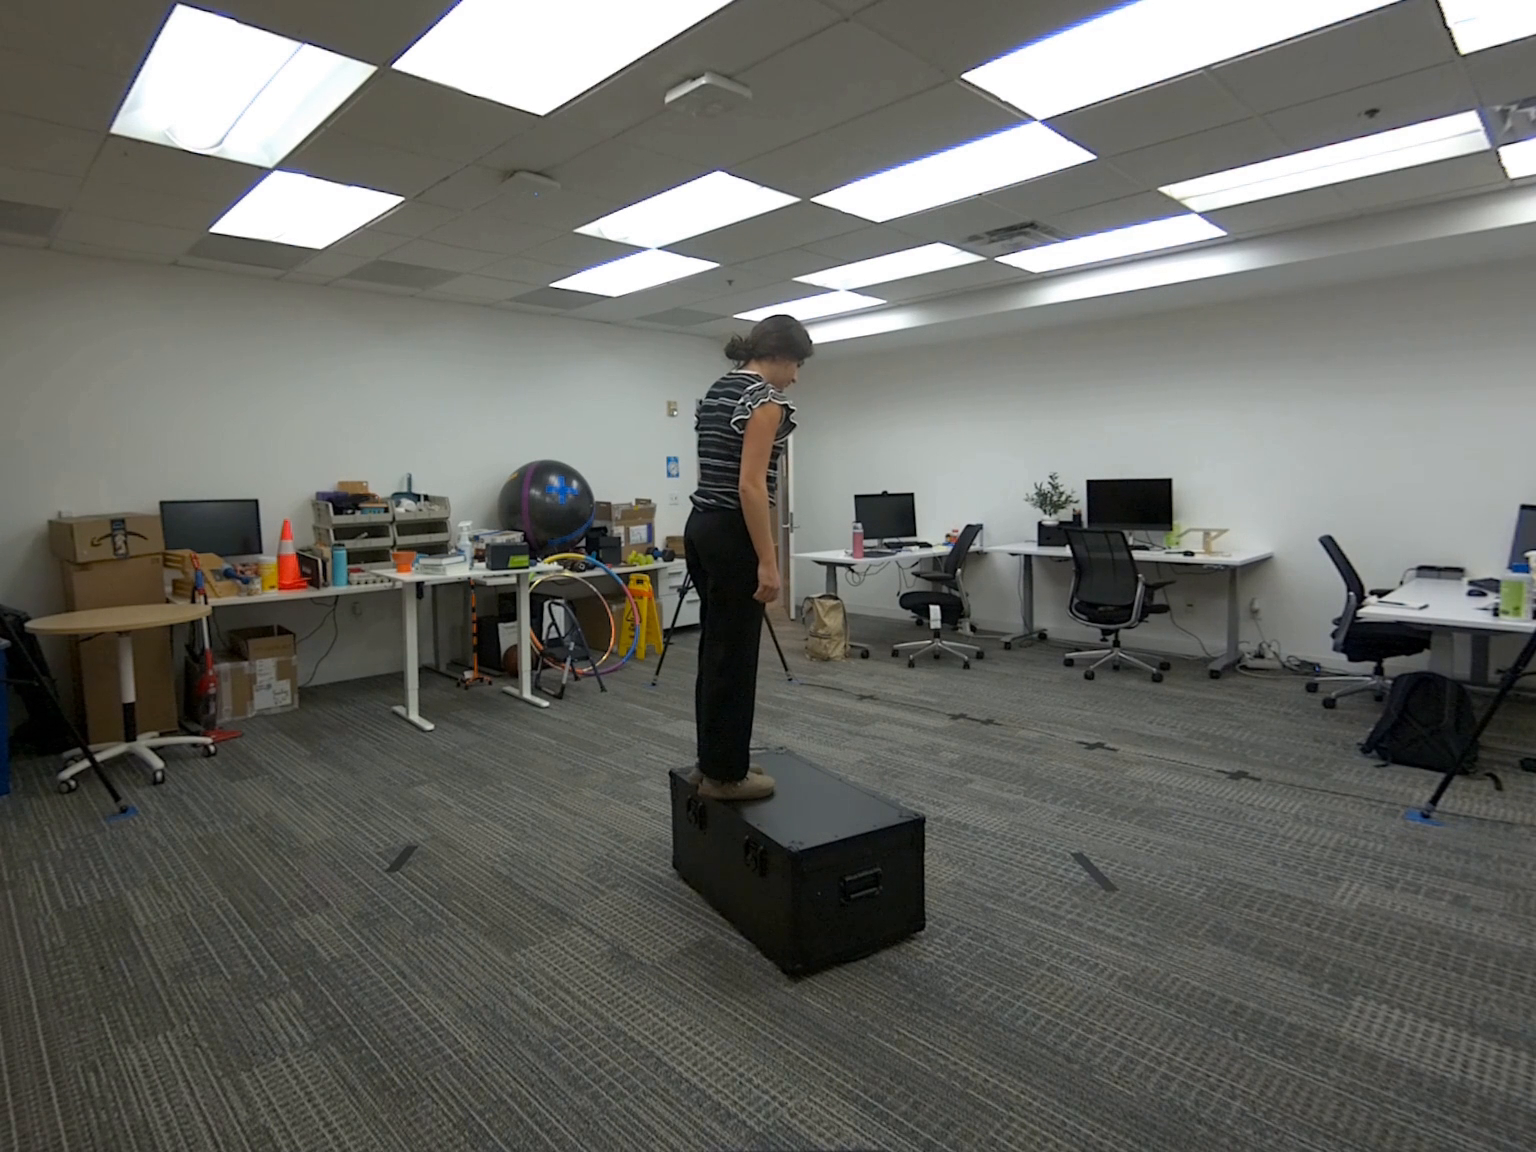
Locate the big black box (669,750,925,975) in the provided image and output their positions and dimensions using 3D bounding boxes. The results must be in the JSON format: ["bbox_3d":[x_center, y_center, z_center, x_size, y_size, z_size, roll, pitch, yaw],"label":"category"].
[{"bbox_3d":[0.052,0.886,2.827,0.509,0.394,0.886,-4,7,-30],"label":"big black box"}]
